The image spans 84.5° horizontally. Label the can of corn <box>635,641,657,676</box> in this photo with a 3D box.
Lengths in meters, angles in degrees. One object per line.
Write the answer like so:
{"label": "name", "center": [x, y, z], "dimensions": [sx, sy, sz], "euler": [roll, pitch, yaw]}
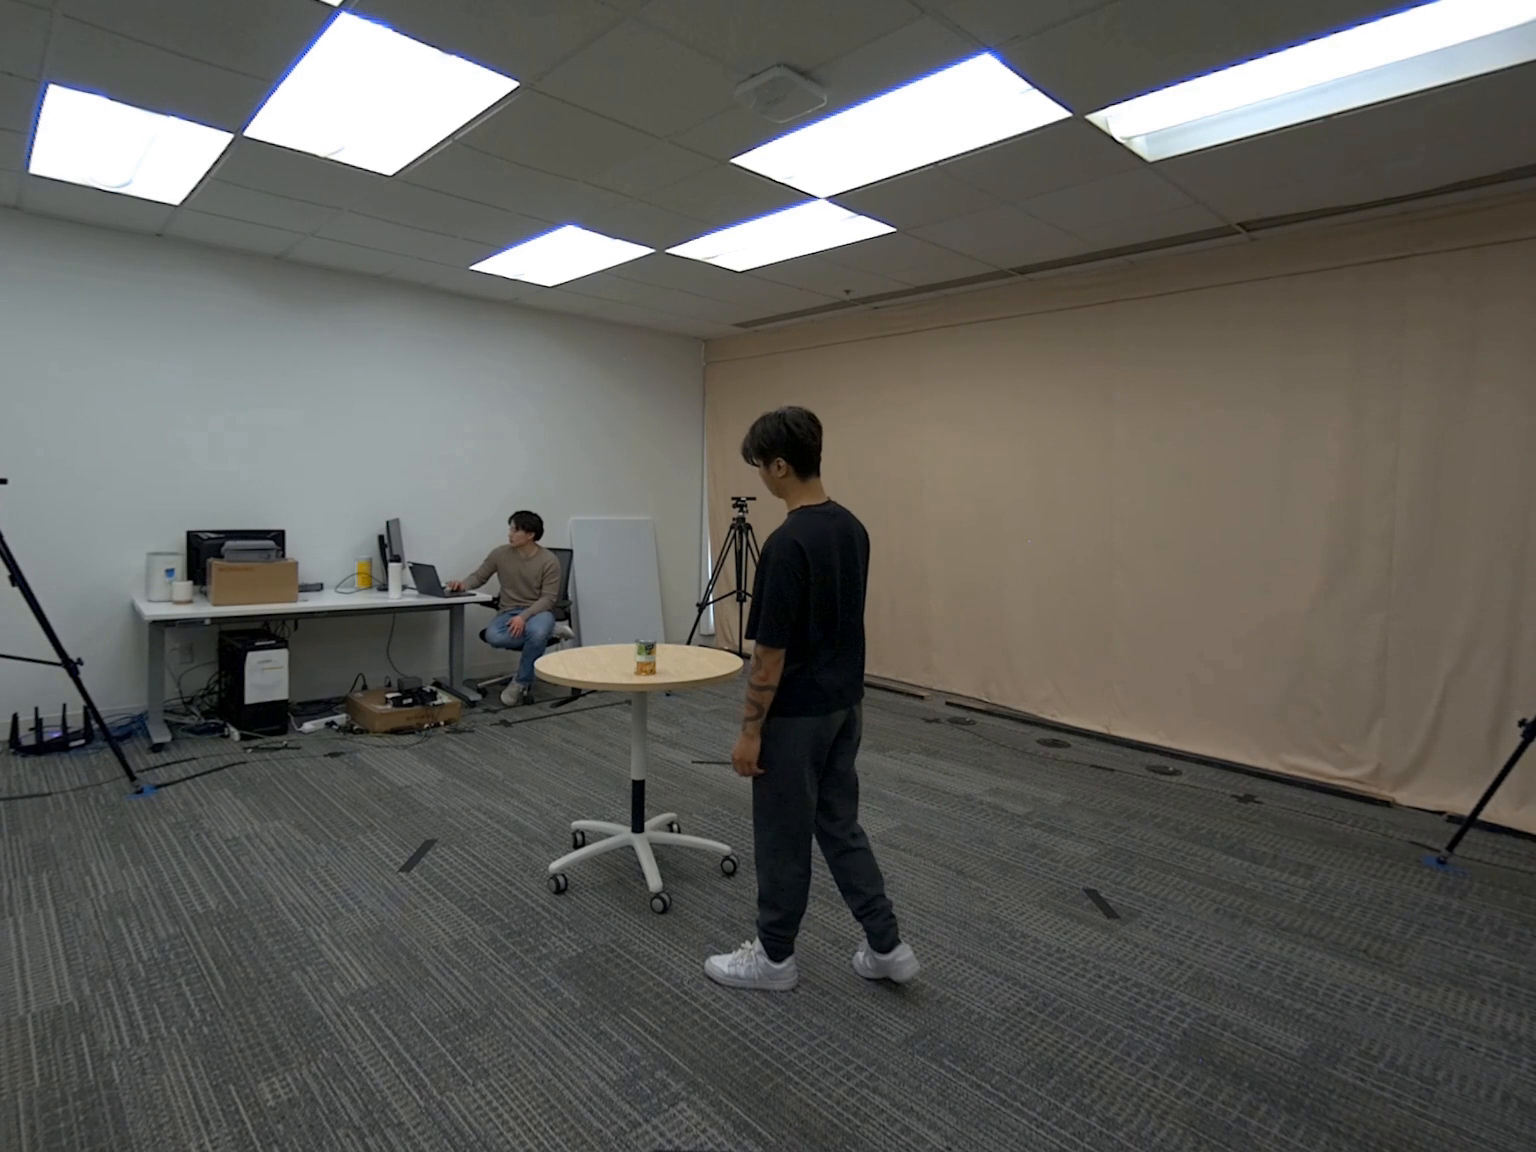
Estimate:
{"label": "can of corn", "center": [-0.429, 0.282, 2.889], "dimensions": [0.074, 0.111, 0.074], "euler": [1, 4, -1]}
